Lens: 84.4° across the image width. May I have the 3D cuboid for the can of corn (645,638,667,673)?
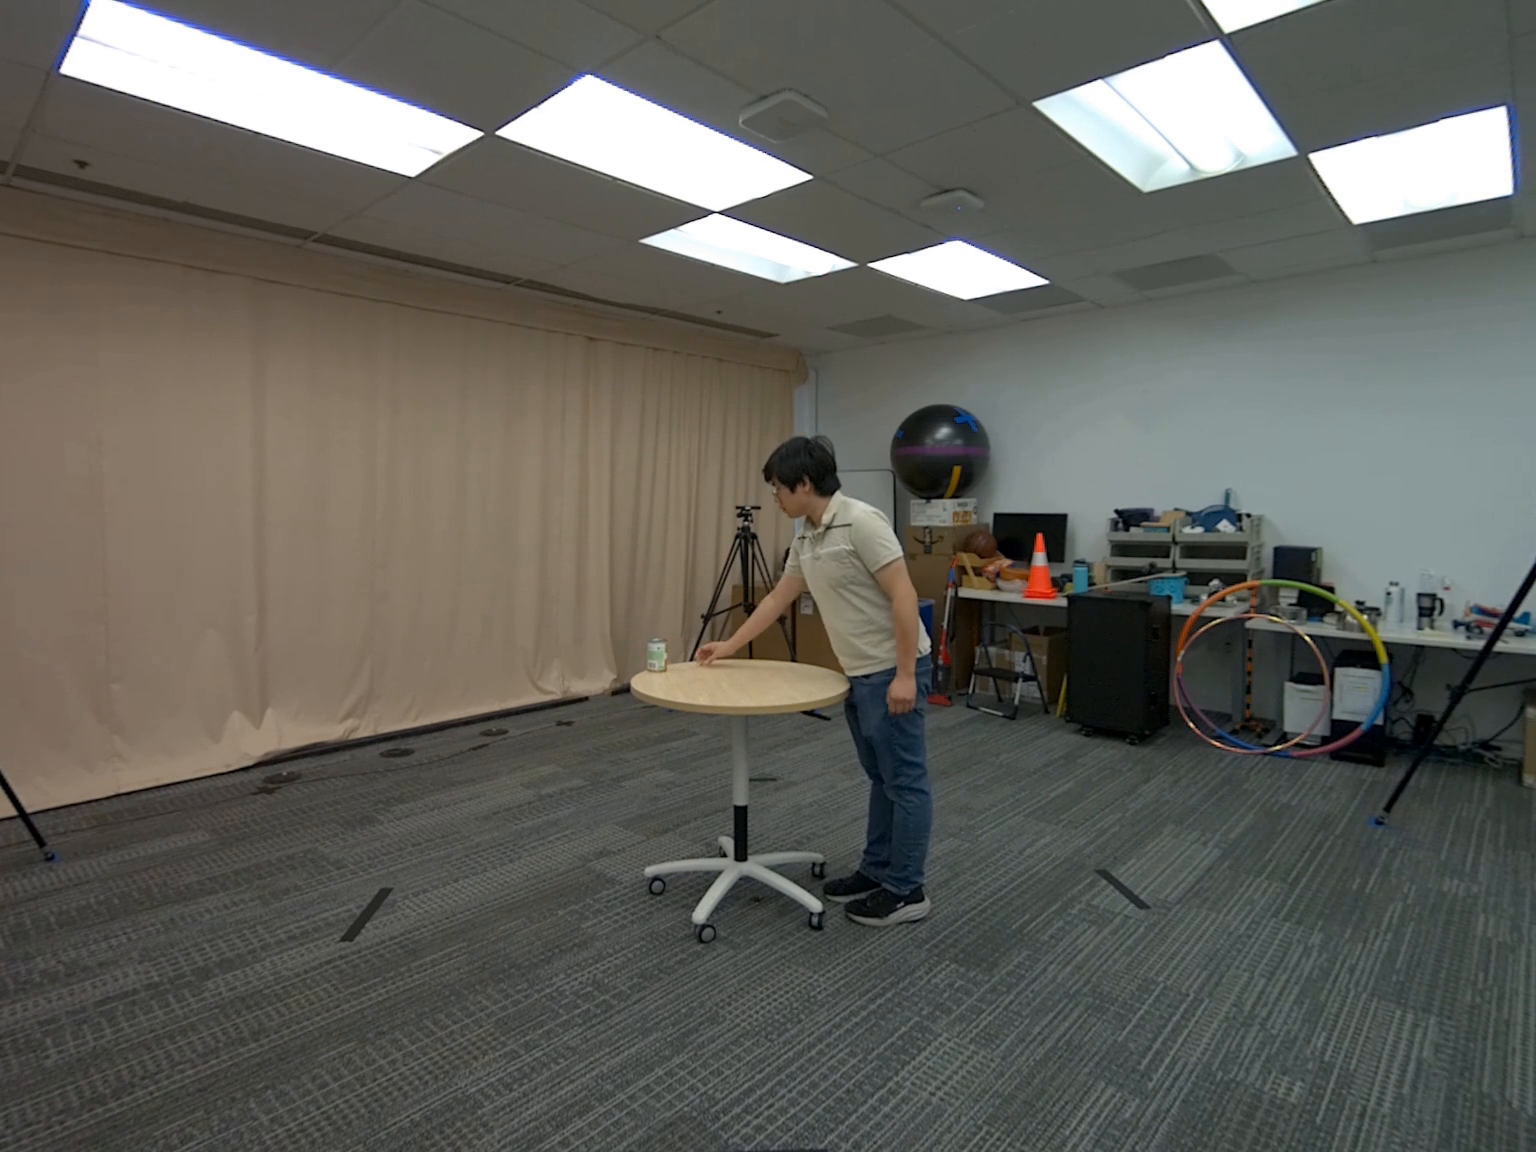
[{"bbox_3d":[-0.415,0.296,3.113,0.074,0.111,0.074,2,1,-2],"label":"can of corn"}]
